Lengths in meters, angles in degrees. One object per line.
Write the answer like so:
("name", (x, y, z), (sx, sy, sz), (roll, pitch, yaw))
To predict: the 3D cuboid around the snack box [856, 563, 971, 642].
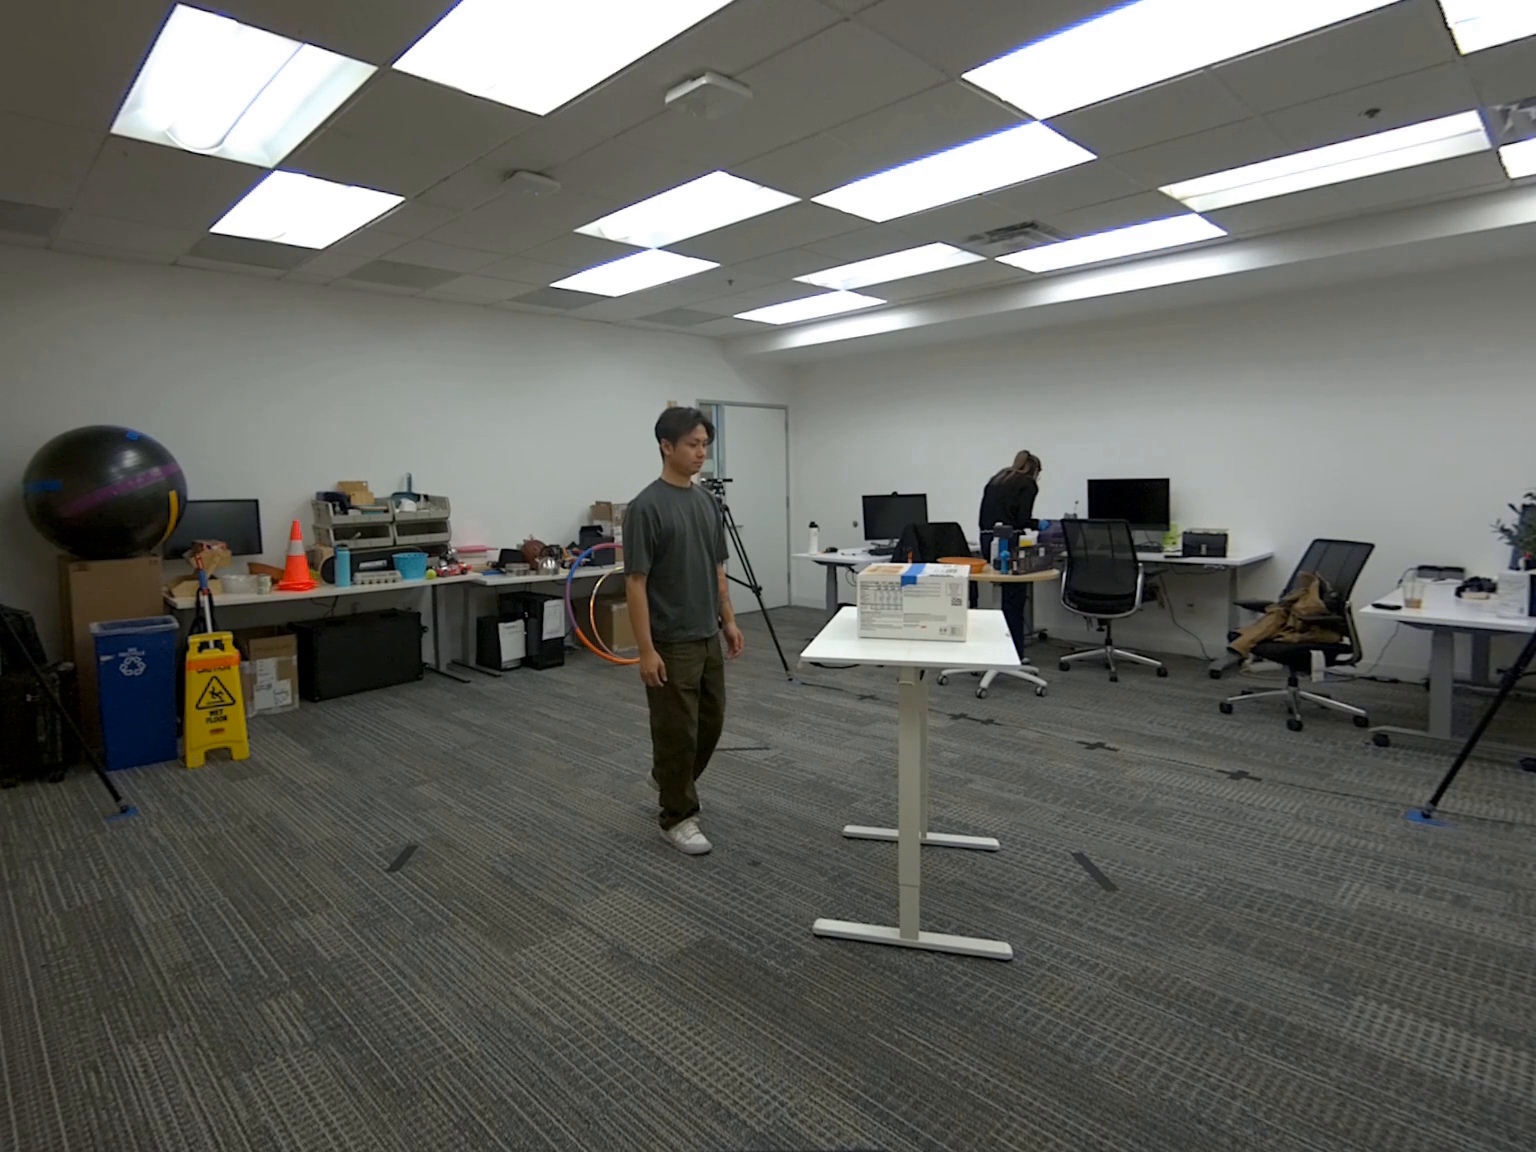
("snack box", (0.501, 0.080, 2.859), (0.346, 0.205, 0.400), (0, 5, 16))
